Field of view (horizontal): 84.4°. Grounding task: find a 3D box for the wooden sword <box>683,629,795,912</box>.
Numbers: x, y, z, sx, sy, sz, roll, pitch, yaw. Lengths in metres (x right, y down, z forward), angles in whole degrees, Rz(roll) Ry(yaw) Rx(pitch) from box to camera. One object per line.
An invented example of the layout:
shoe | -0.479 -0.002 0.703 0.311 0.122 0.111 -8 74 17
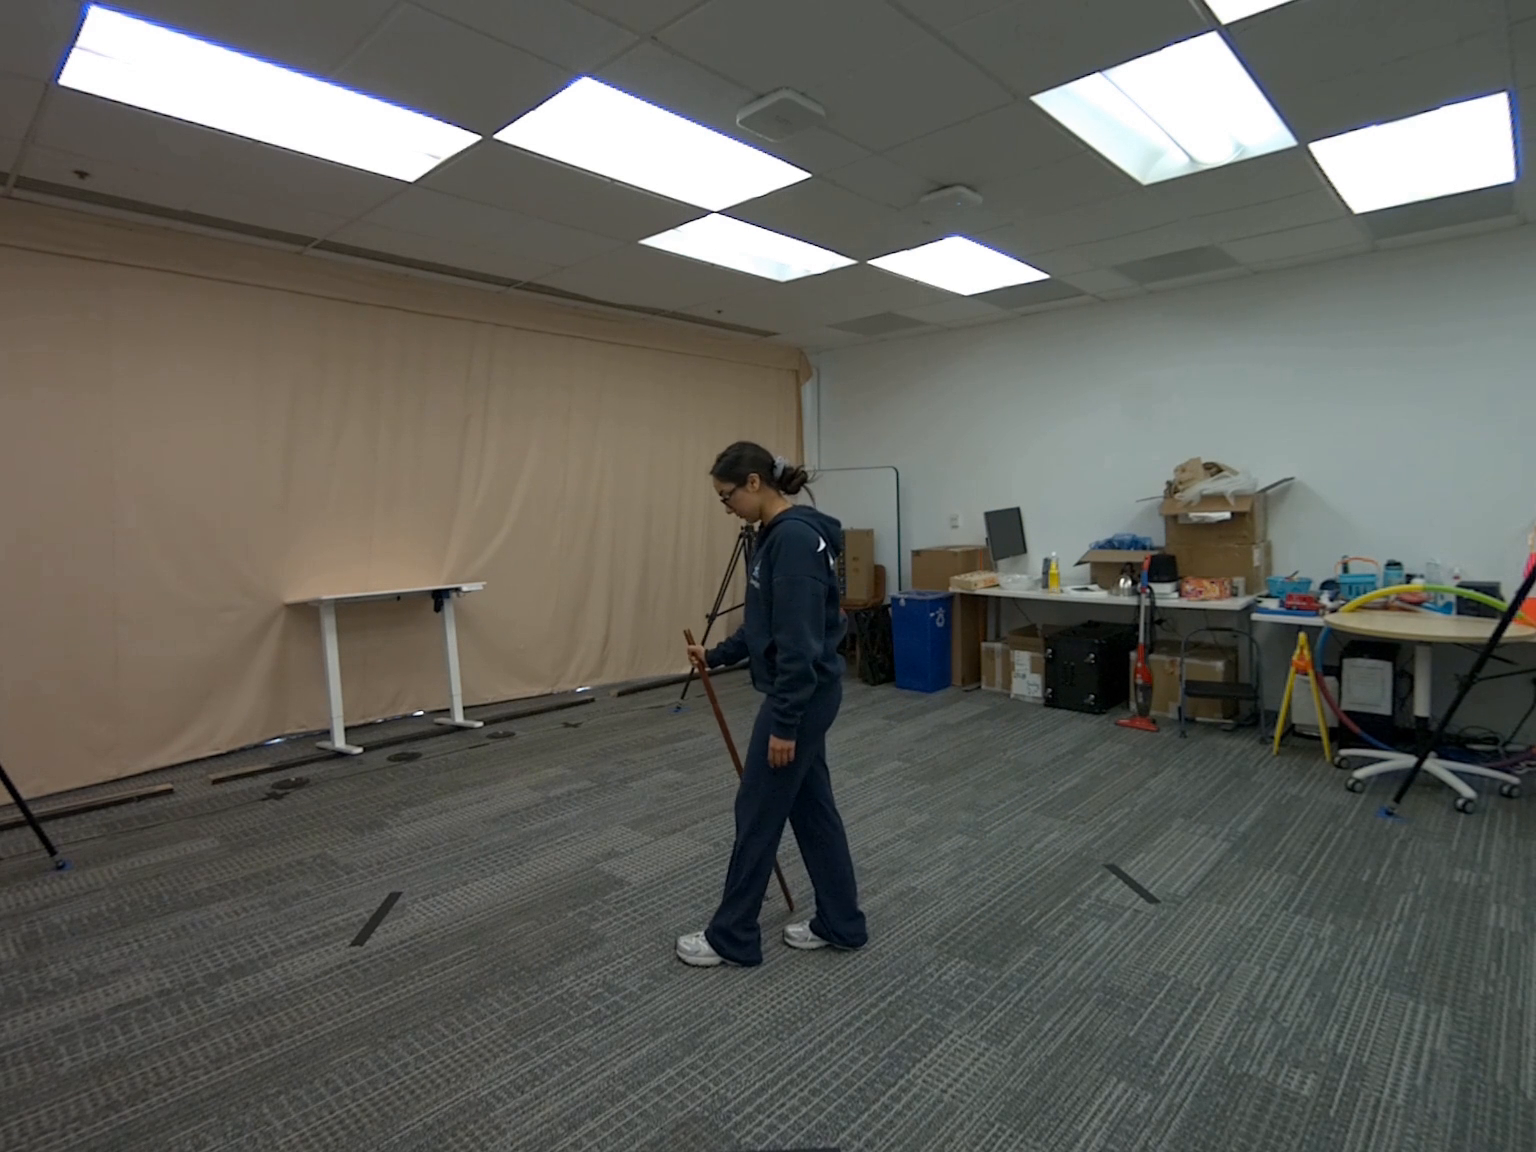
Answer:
wooden sword | -0.089 0.671 2.886 0.052 1.024 0.023 -20 1 45
